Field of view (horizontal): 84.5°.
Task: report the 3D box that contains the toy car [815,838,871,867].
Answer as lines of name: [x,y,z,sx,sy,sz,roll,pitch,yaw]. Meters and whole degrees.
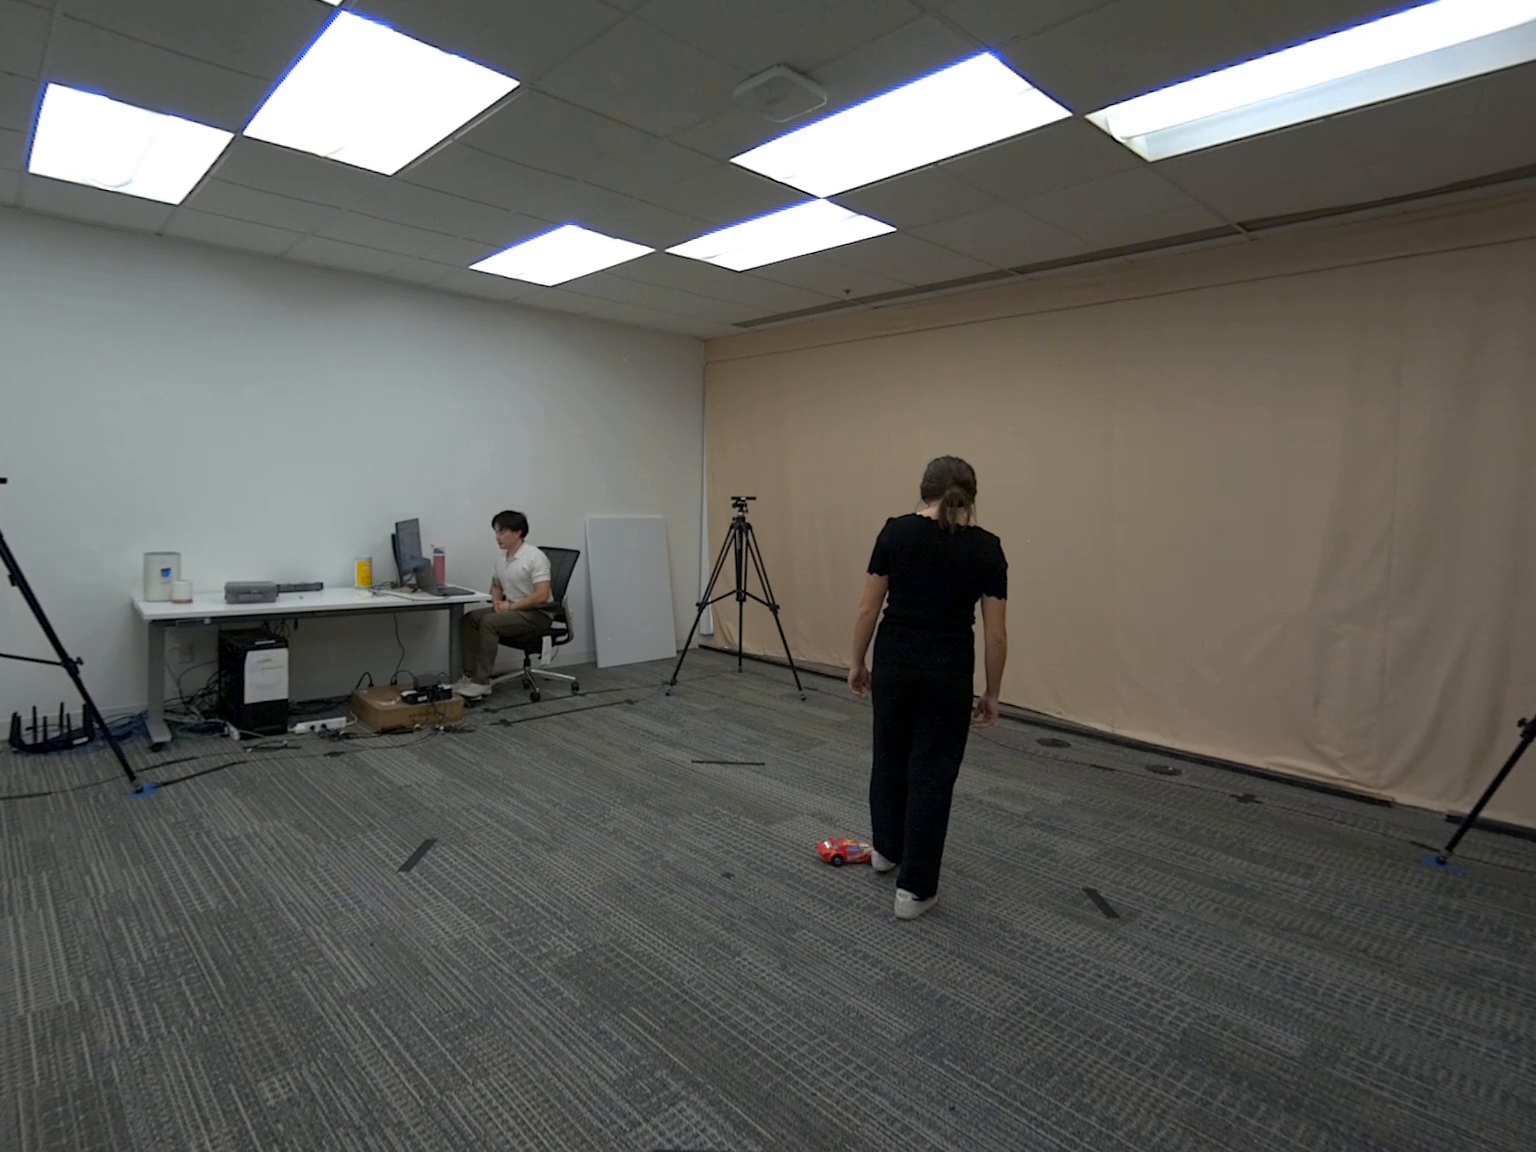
toy car: [0.290,1.066,3.258,0.252,0.083,0.131,13,2,-9]
